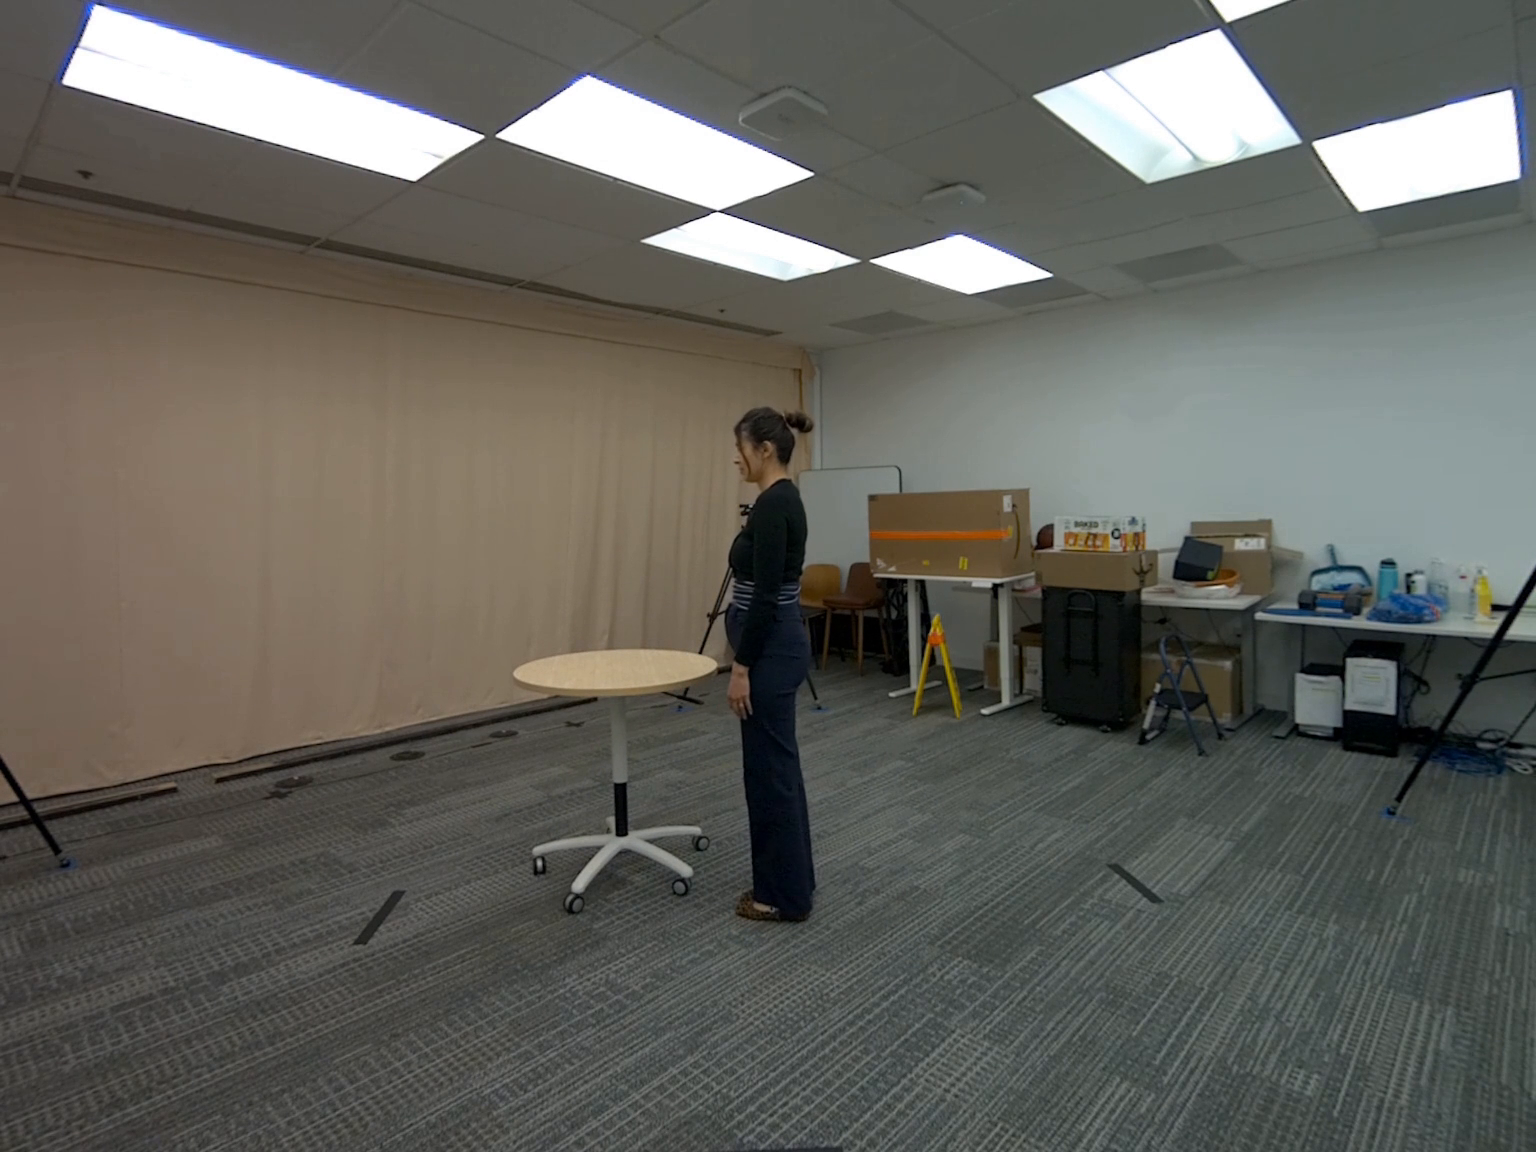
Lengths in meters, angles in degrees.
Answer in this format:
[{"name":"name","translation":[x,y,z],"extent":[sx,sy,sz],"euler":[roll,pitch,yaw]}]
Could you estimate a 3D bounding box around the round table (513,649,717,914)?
[{"name":"round table","translation":[-0.565,0.743,3.209],"extent":[0.763,0.792,0.766],"euler":[-1,3,-2]}]
